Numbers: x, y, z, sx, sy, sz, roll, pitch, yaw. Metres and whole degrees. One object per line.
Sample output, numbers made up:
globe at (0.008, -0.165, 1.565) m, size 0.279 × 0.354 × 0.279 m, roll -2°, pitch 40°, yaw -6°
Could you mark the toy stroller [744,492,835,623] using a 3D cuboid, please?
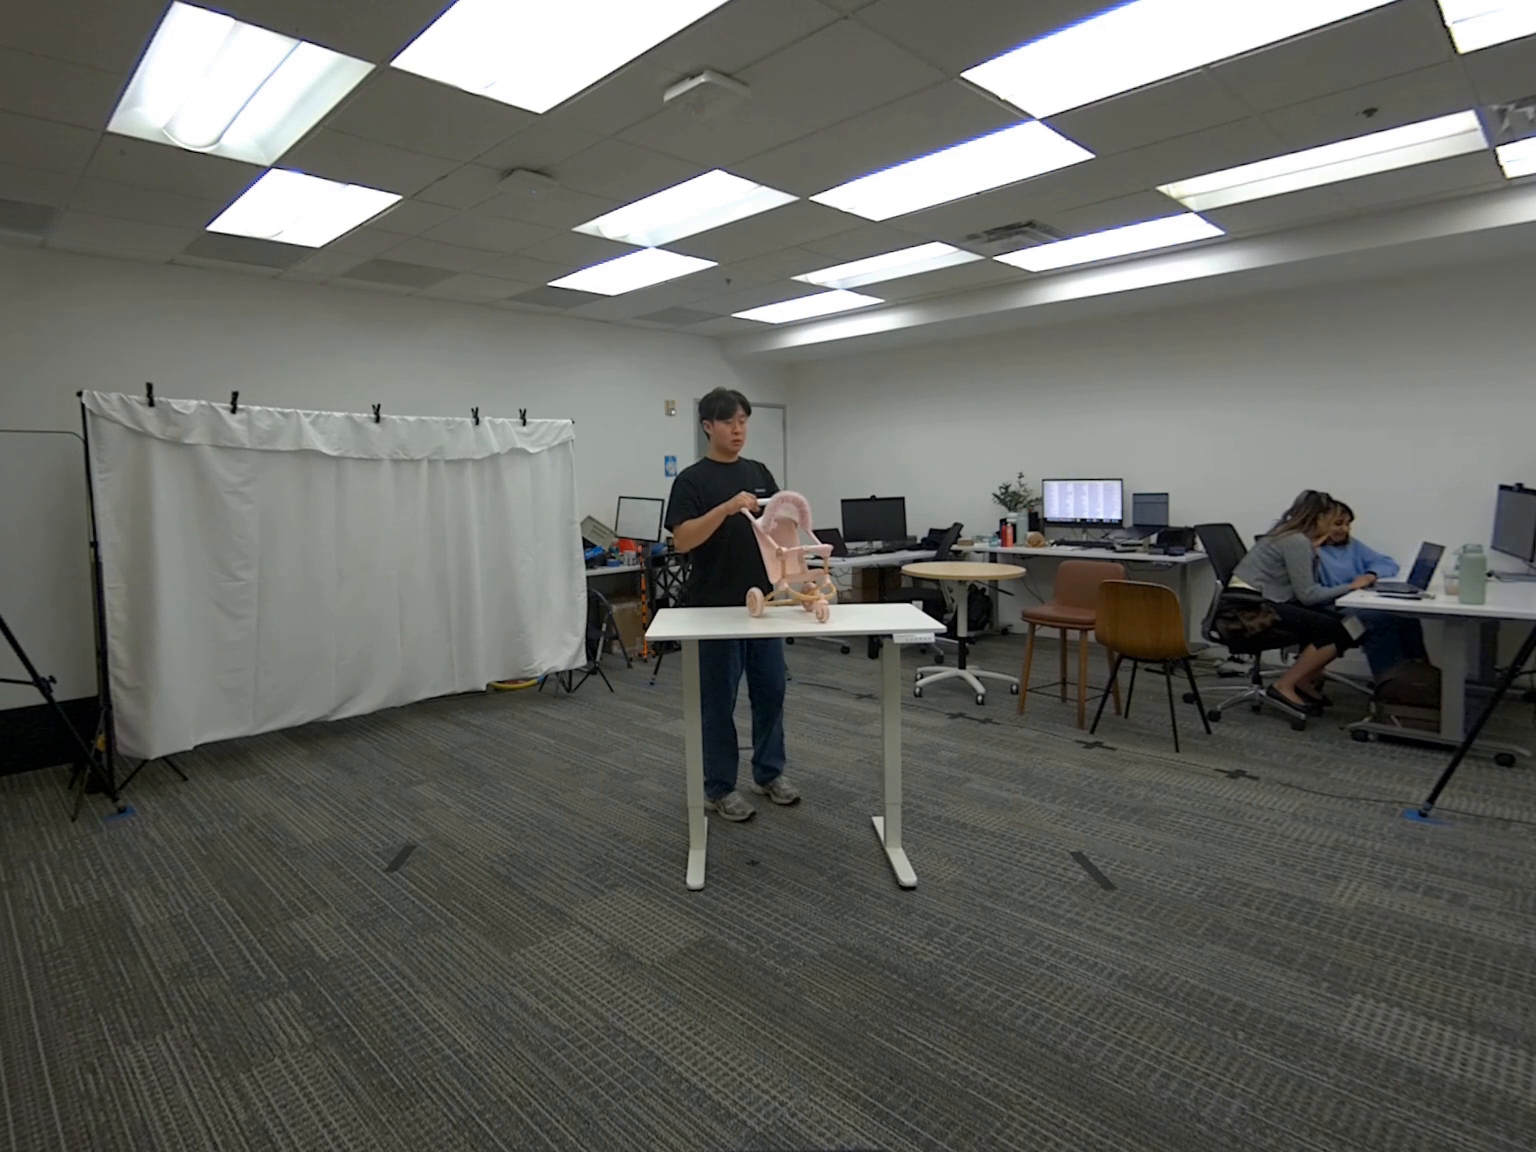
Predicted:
toy stroller at (0.088, -0.072, 3.154) m, size 0.275 × 0.541 × 0.345 m, roll -3°, pitch -11°, yaw -26°
